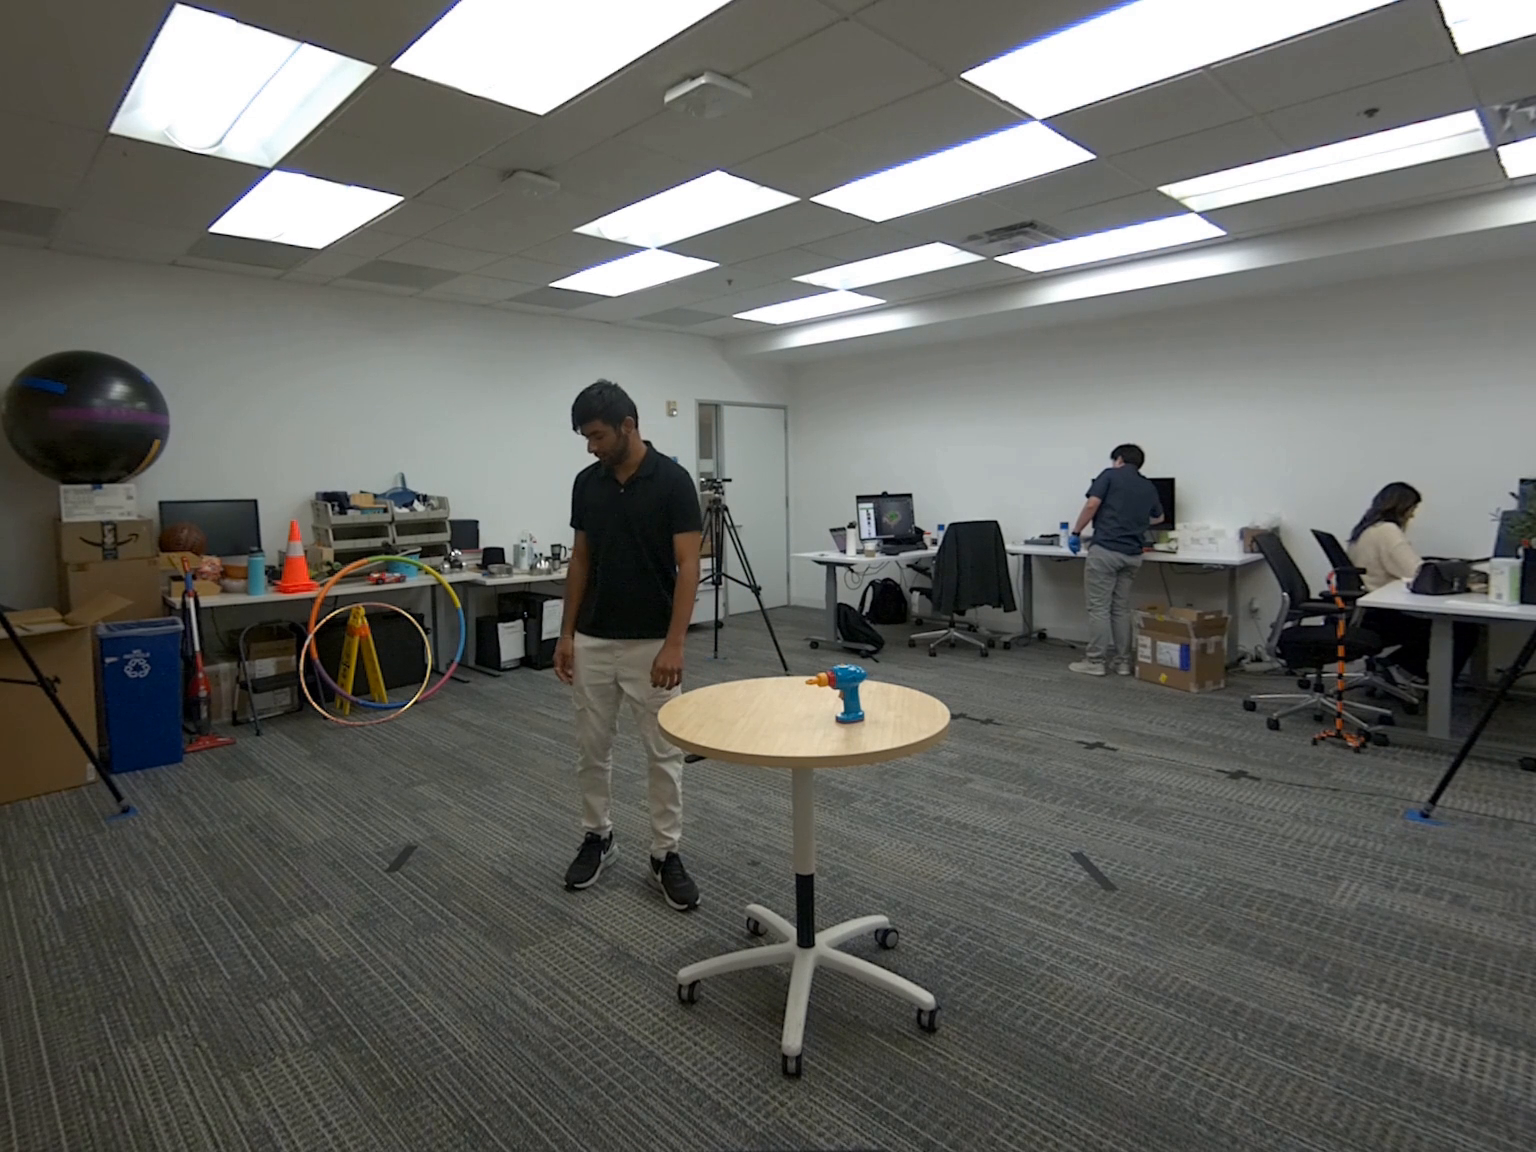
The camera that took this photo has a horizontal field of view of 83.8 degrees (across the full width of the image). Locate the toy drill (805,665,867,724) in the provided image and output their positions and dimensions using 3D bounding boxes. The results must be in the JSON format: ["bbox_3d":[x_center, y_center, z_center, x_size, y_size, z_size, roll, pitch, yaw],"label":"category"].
[{"bbox_3d":[0.174,0.297,2.131,0.167,0.145,0.062,-5,9,-20],"label":"toy drill"}]
